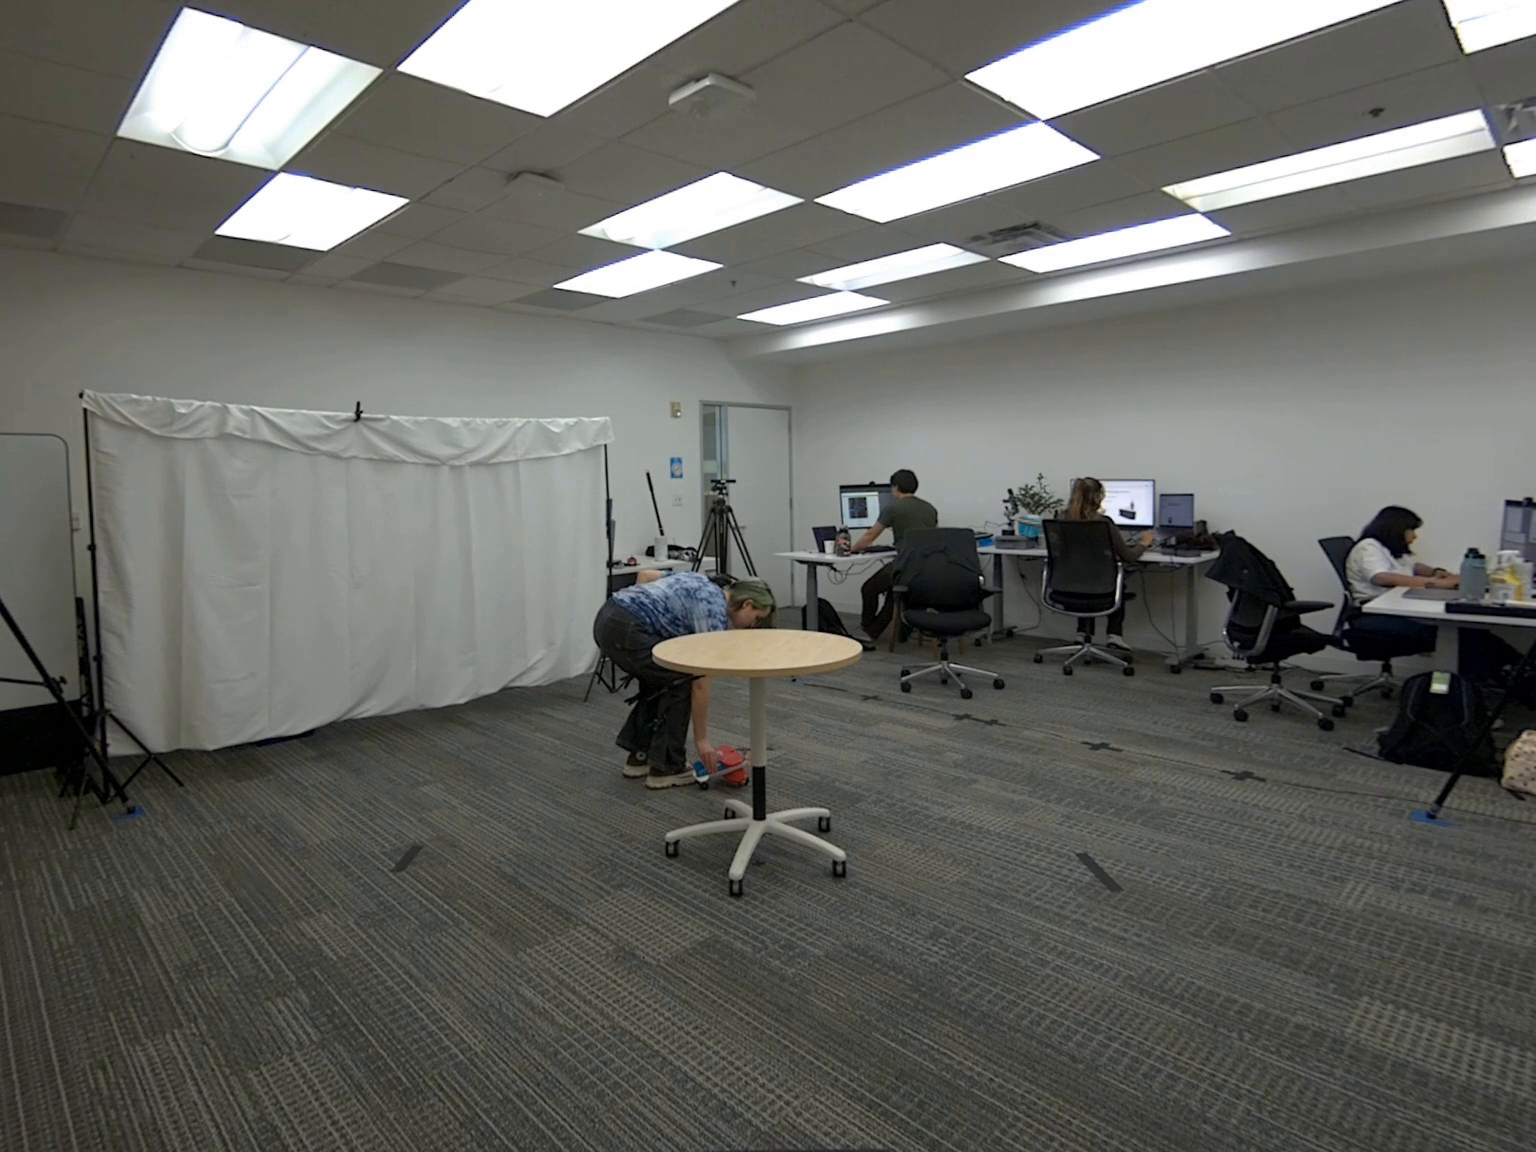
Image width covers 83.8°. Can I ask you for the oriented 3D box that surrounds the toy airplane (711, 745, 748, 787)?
[{"bbox_3d":[-0.202,0.891,3.908,0.258,0.156,0.252,2,4,41],"label":"toy airplane"}]
